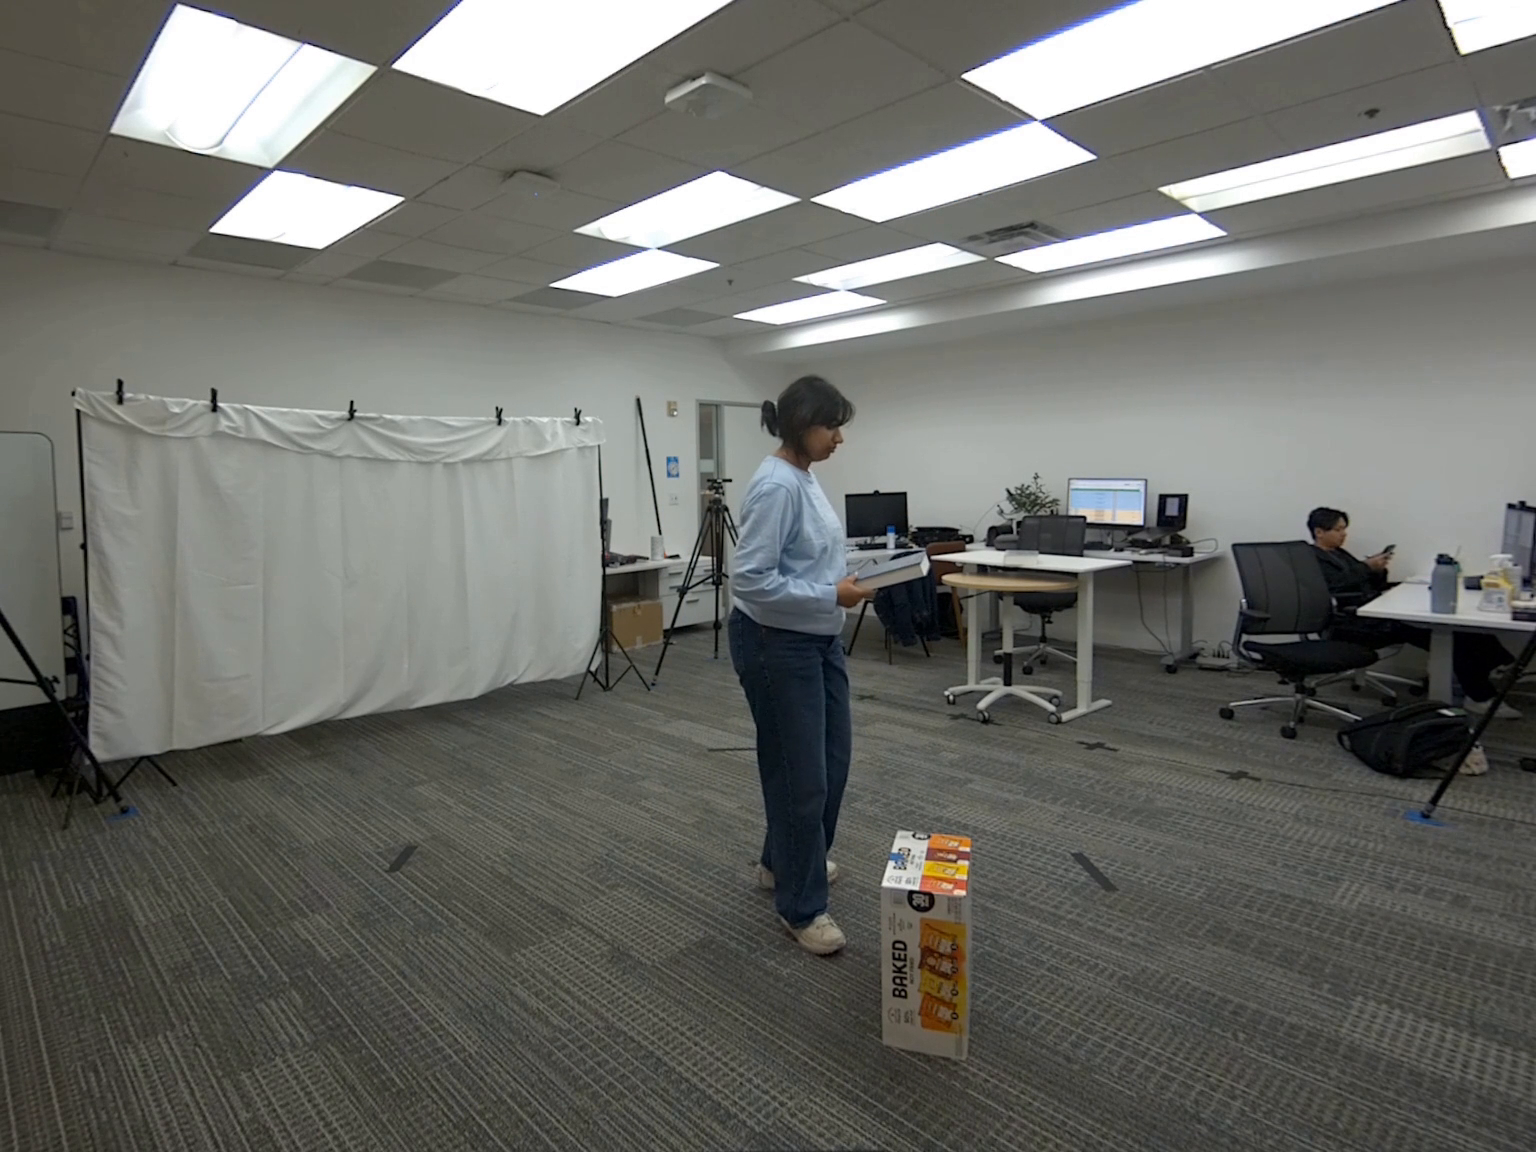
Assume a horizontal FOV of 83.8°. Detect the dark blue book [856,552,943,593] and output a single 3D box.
[{"bbox_3d":[0.375,-0.007,2.482,0.247,0.045,0.162,-16,4,14],"label":"dark blue book"}]
